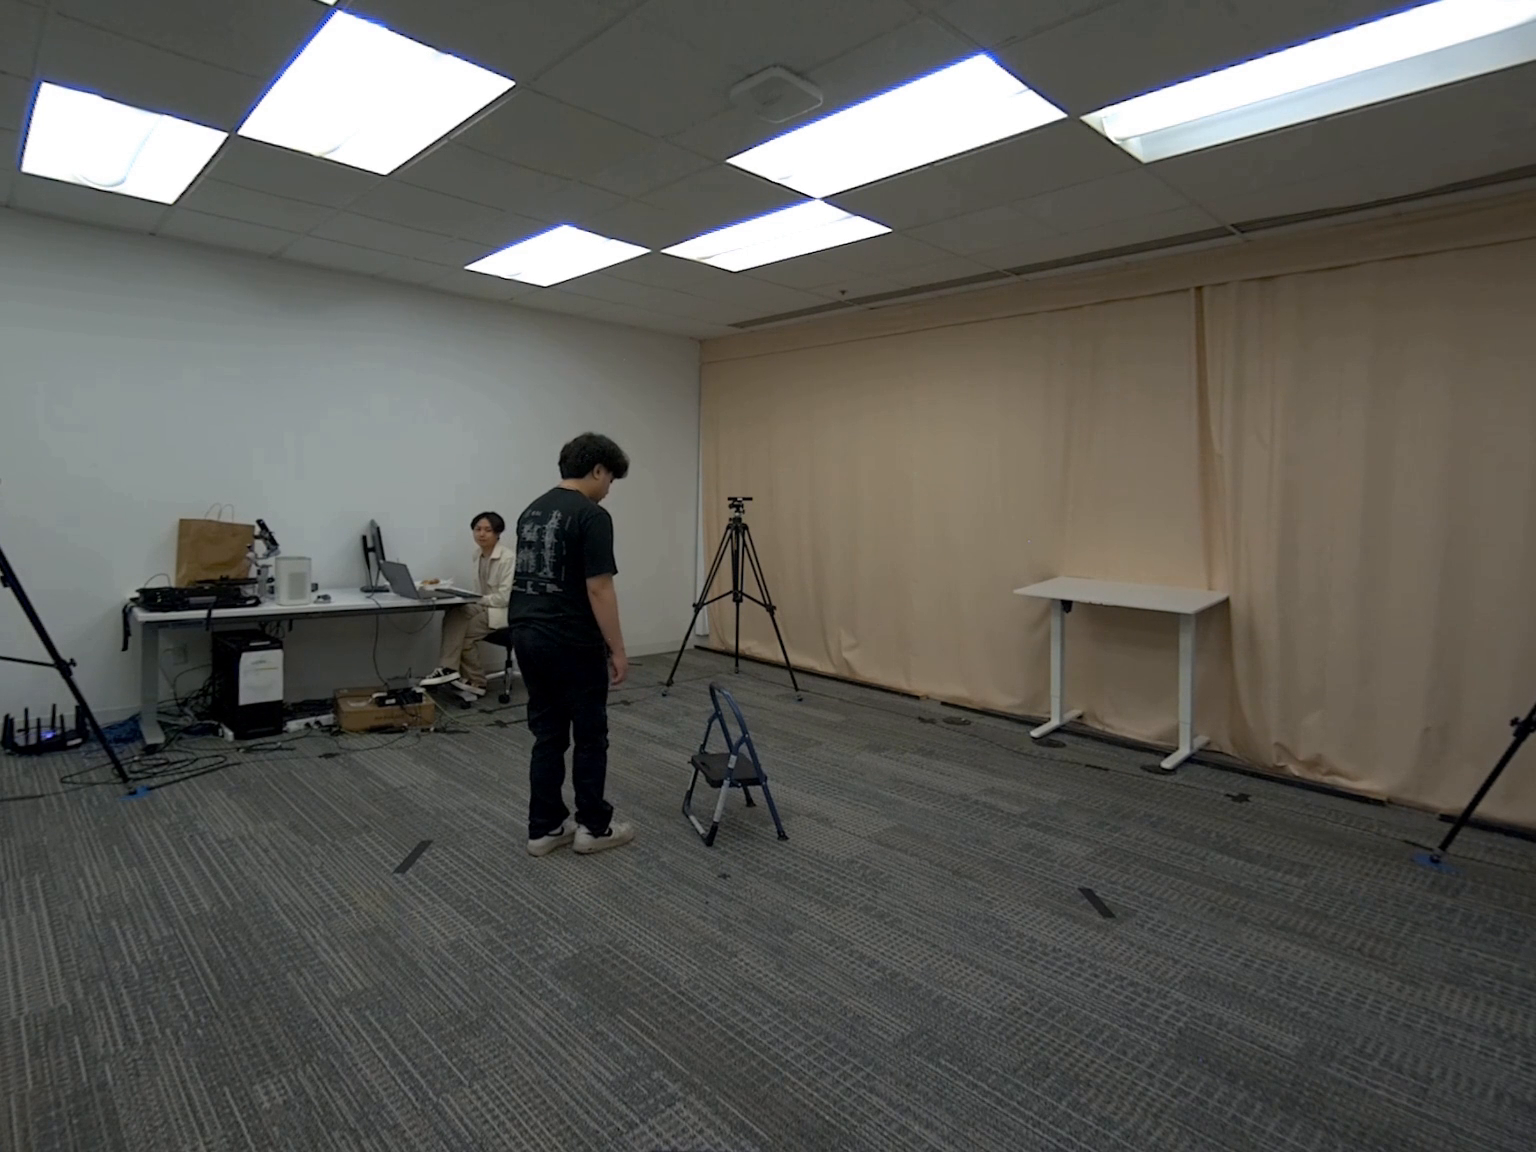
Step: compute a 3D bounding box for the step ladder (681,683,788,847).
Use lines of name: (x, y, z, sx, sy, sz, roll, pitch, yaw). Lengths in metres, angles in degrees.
step ladder: (-0.153, 0.761, 3.588, 0.344, 0.605, 0.438, 0, 3, -20)
